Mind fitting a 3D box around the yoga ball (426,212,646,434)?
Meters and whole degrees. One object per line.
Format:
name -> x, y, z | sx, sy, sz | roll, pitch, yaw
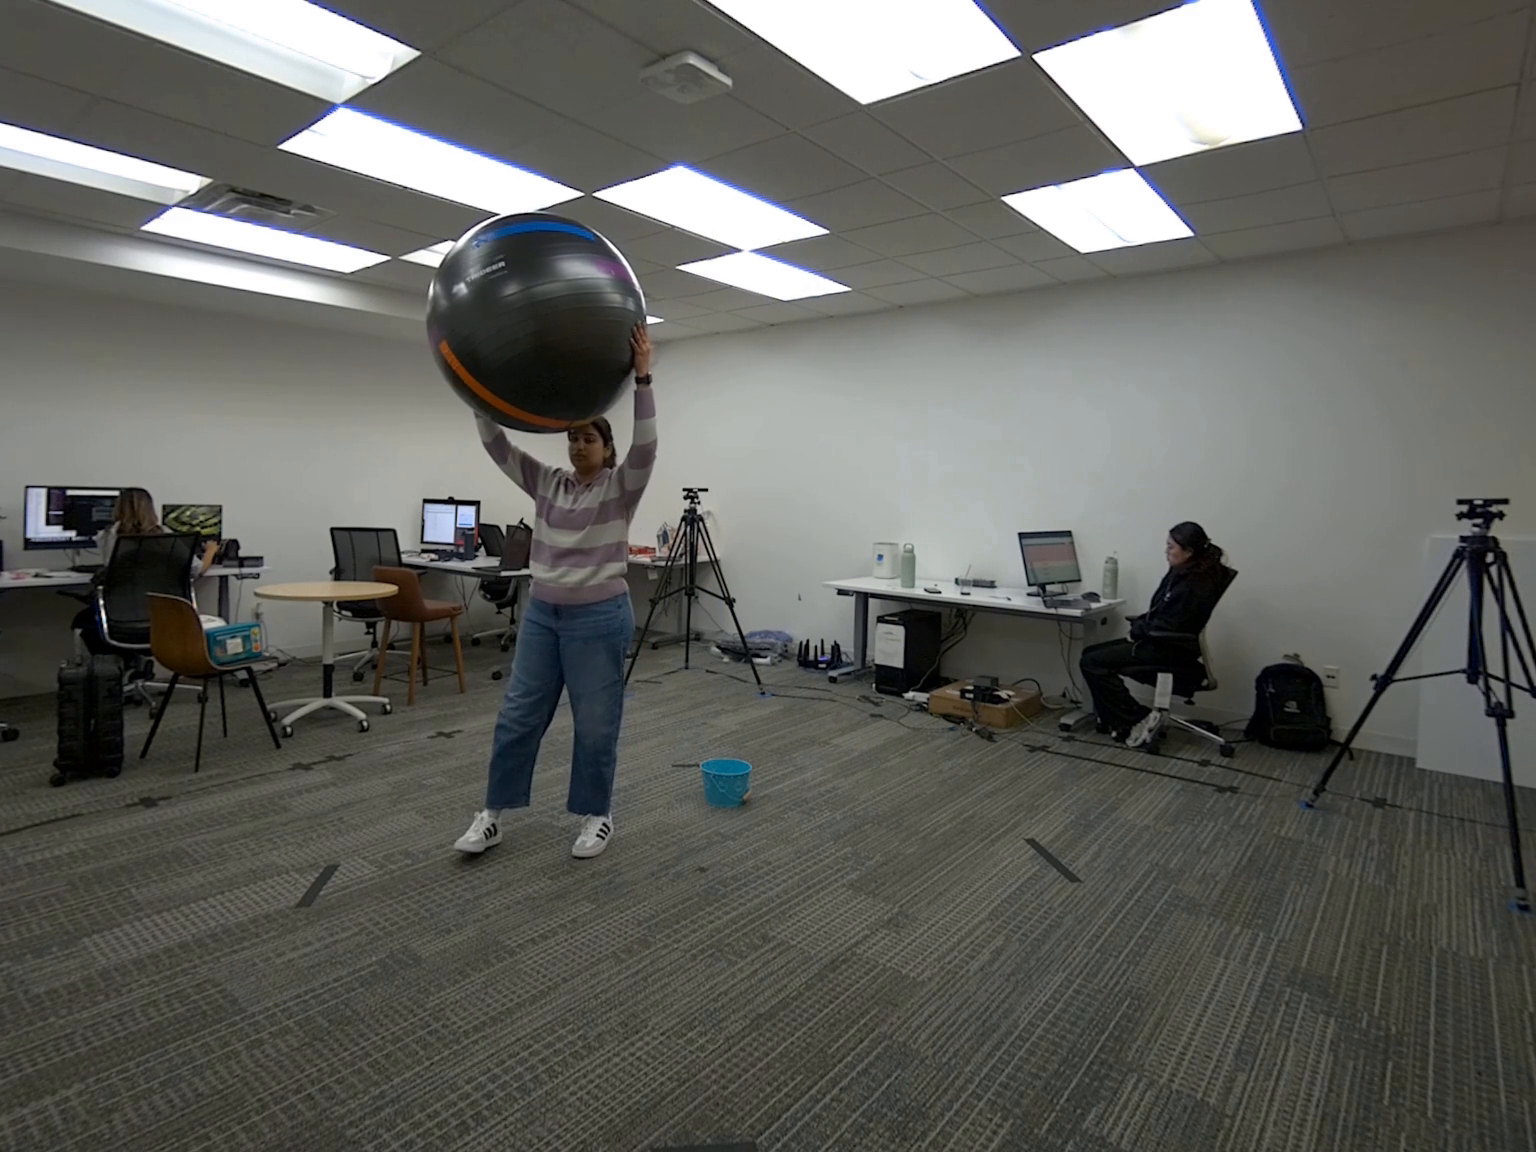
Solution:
yoga ball -> -0.818, -0.881, 2.997 | 0.757, 0.756, 0.761 | 1, 4, -2
